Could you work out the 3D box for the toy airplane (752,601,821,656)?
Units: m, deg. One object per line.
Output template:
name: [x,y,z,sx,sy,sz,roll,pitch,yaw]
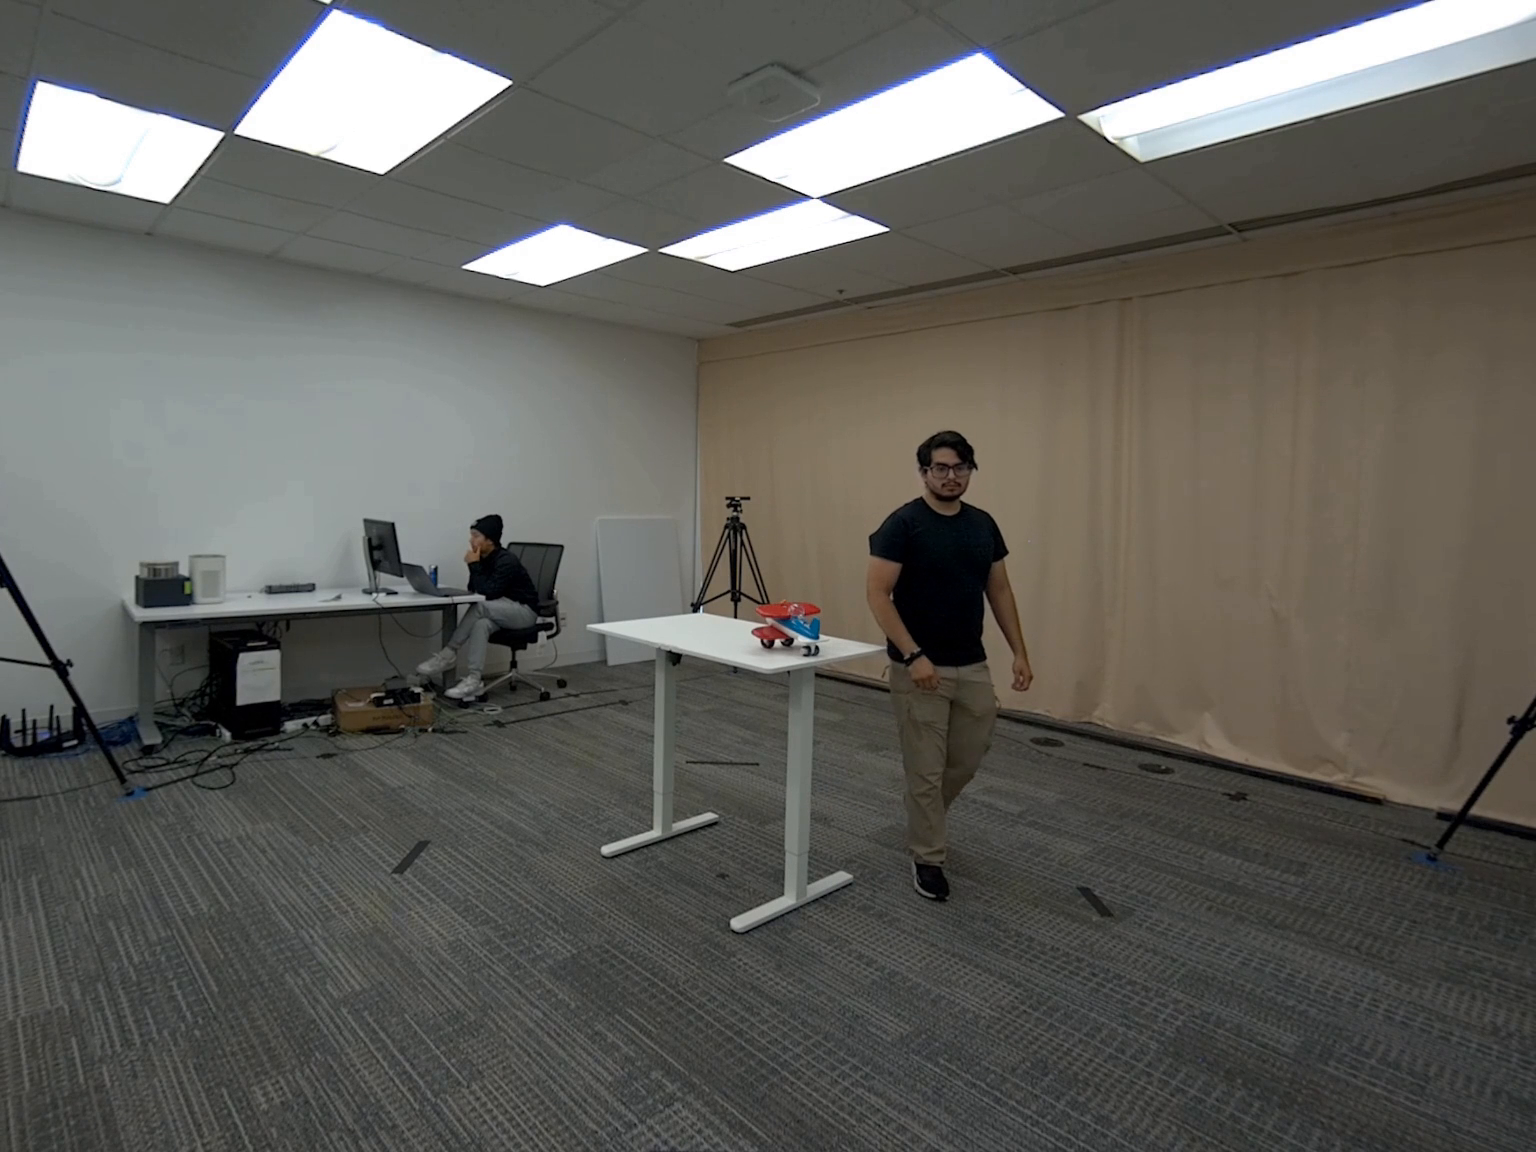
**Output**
toy airplane: [0.092,0.178,2.845,0.264,0.156,0.247,3,6,26]
